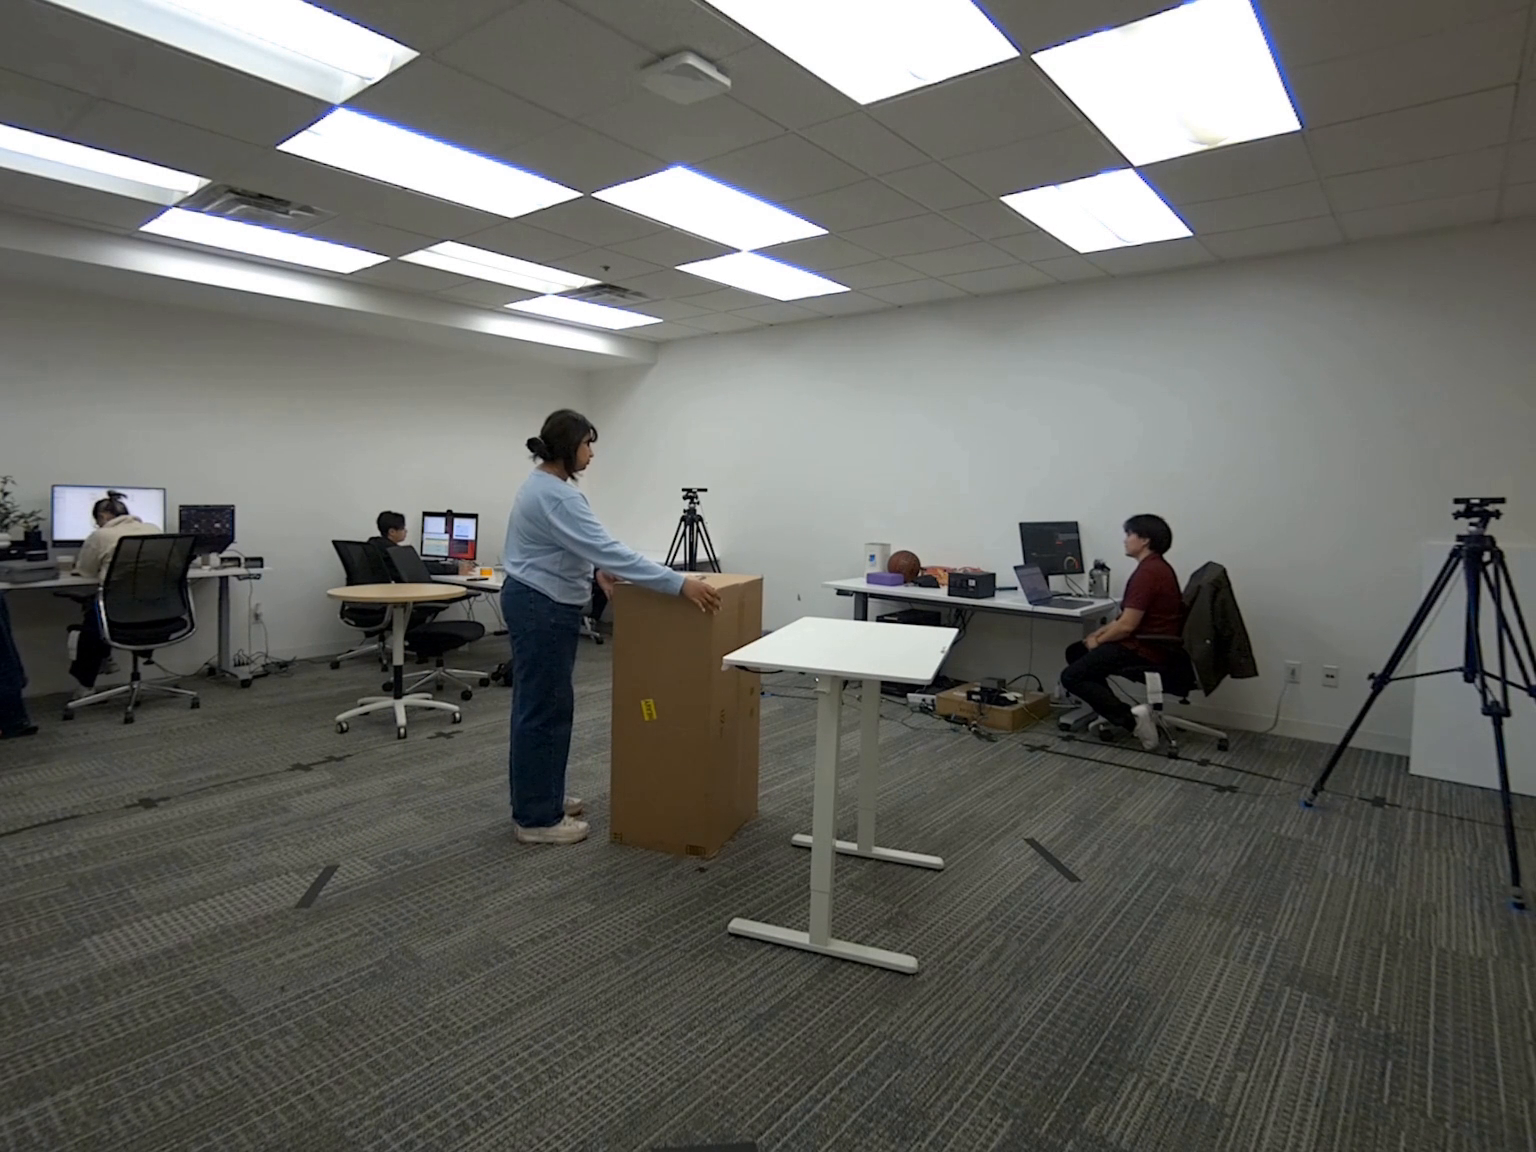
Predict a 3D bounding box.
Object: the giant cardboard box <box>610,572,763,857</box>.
[{"bbox_3d":[-0.330,0.523,3.497,0.436,1.022,0.567,2,4,20],"label":"giant cardboard box"}]
